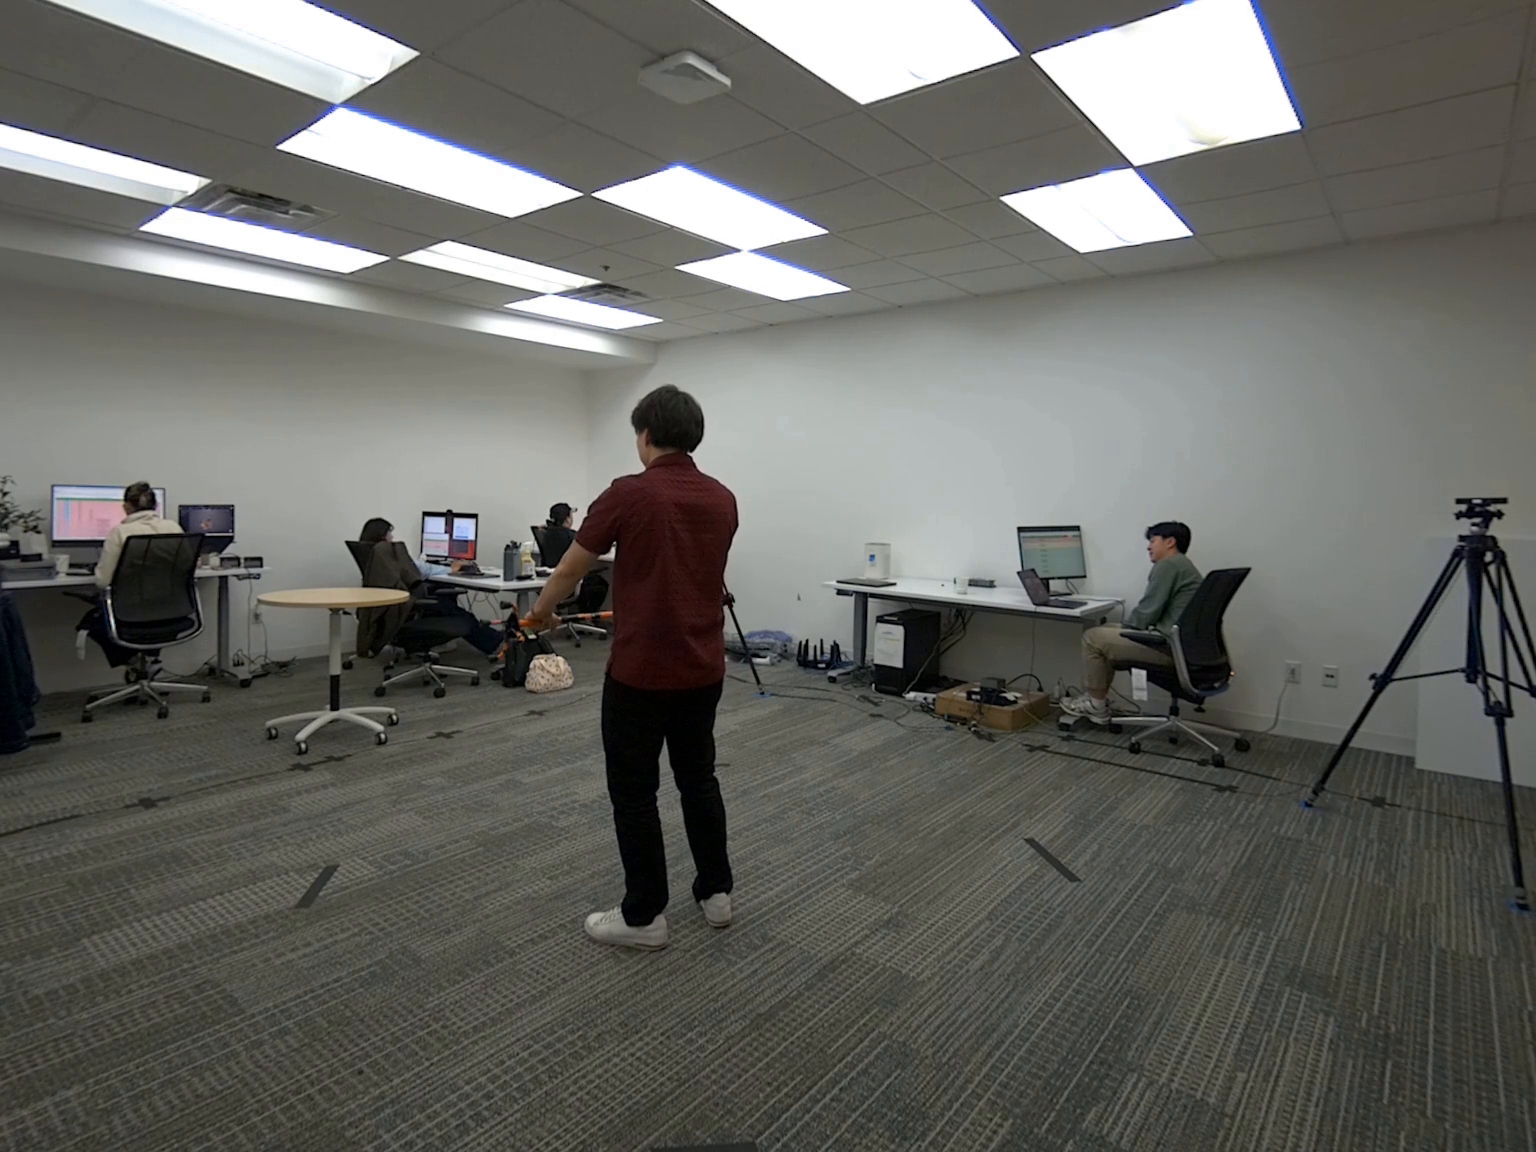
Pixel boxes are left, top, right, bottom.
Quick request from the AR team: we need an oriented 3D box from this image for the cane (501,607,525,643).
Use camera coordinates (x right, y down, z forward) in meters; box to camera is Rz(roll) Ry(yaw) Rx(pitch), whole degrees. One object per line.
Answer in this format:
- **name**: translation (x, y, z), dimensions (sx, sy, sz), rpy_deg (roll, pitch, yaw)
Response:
- **cane**: translation (-0.531, 0.145, 2.959), dimensions (0.882, 0.155, 0.208), rpy_deg (-5, -20, -39)
